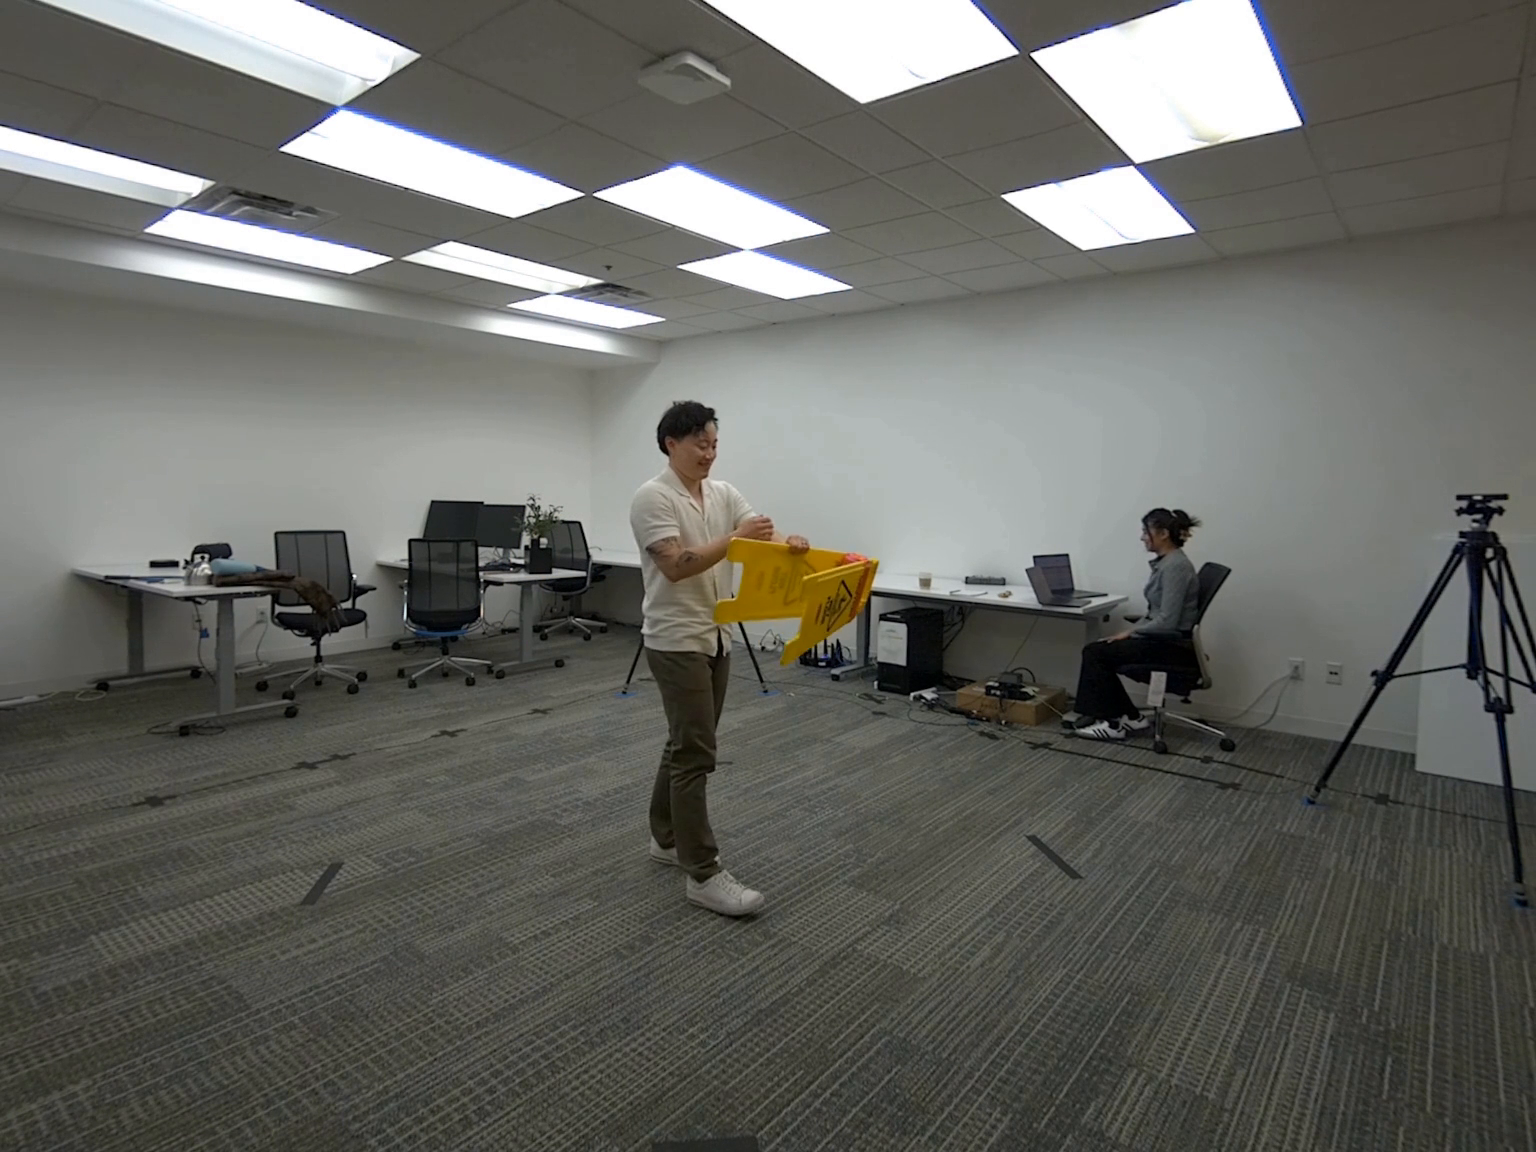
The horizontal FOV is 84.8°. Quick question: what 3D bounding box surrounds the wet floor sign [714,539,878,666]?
[{"bbox_3d":[0.152,0.052,2.774,0.301,0.279,0.627,28,22,36],"label":"wet floor sign"}]
